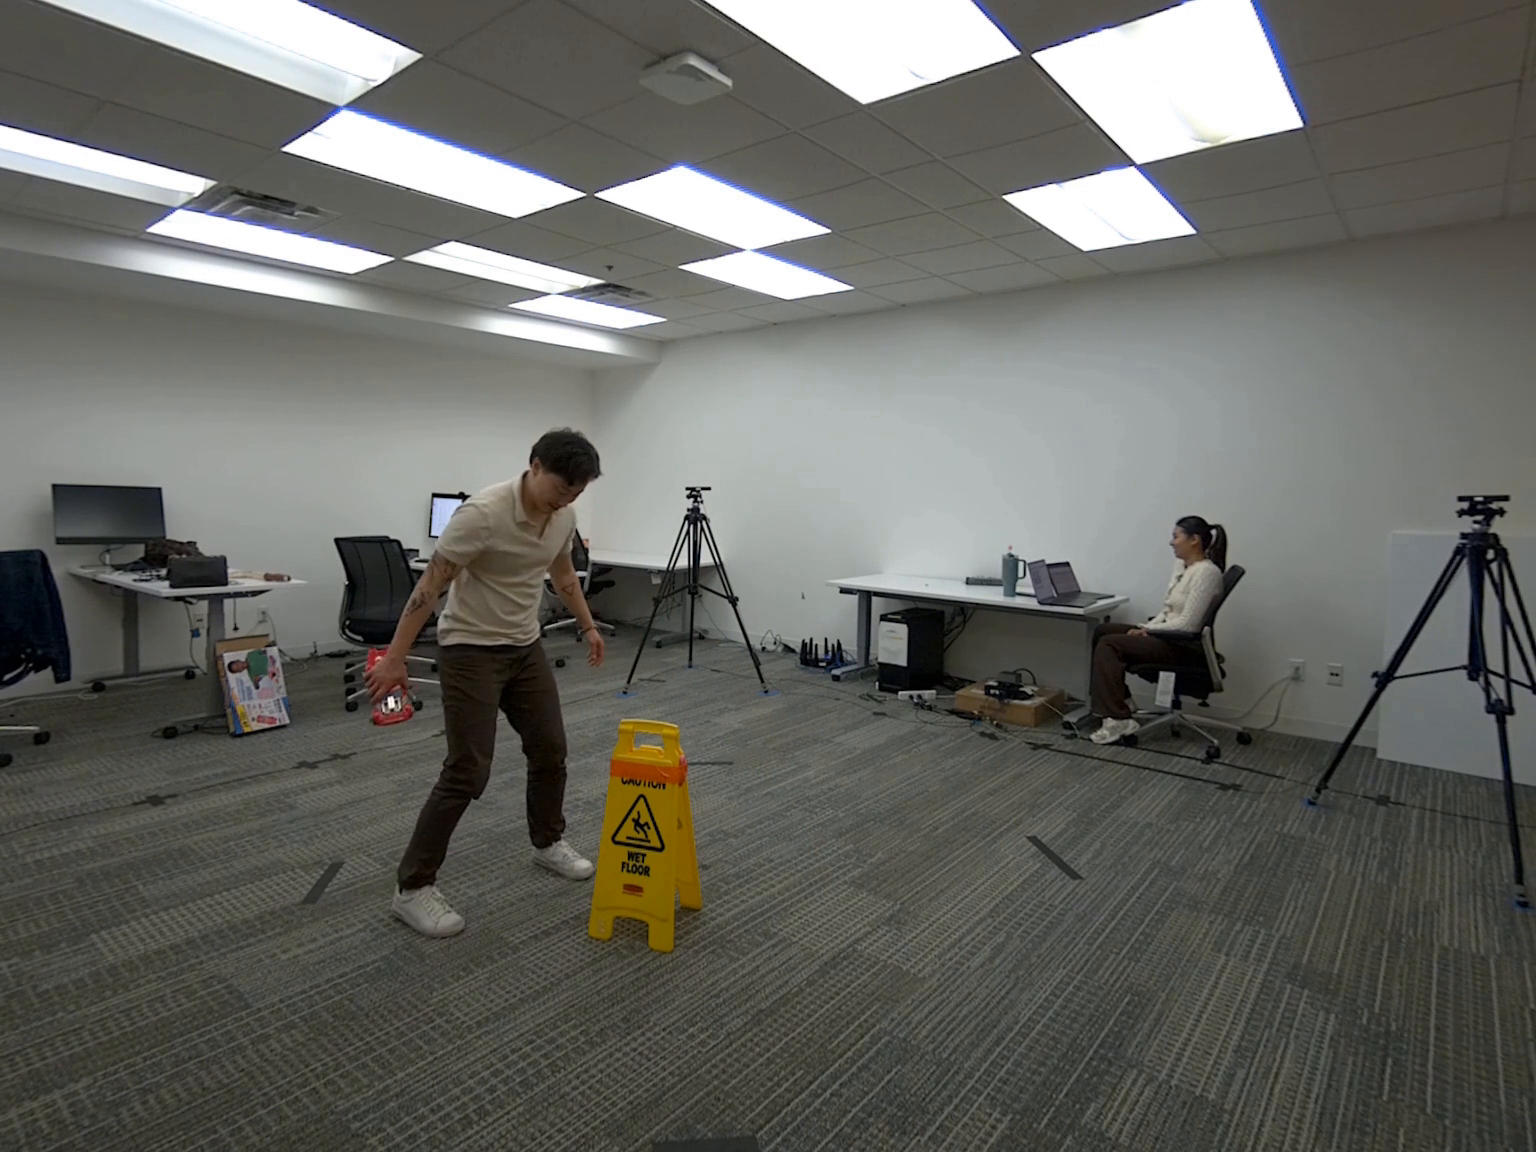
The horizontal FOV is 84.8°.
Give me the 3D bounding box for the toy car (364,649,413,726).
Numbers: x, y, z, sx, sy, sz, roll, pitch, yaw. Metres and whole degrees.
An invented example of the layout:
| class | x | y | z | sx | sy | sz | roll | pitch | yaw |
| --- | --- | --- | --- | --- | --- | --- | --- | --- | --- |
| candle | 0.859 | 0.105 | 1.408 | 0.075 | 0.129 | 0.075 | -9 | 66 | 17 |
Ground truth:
| class | x | y | z | sx | sy | sz | roll | pitch | yaw |
| --- | --- | --- | --- | --- | --- | --- | --- | --- | --- |
| toy car | -1.189 | 0.342 | 2.642 | 0.127 | 0.261 | 0.083 | -9 | -22 | -28 |
